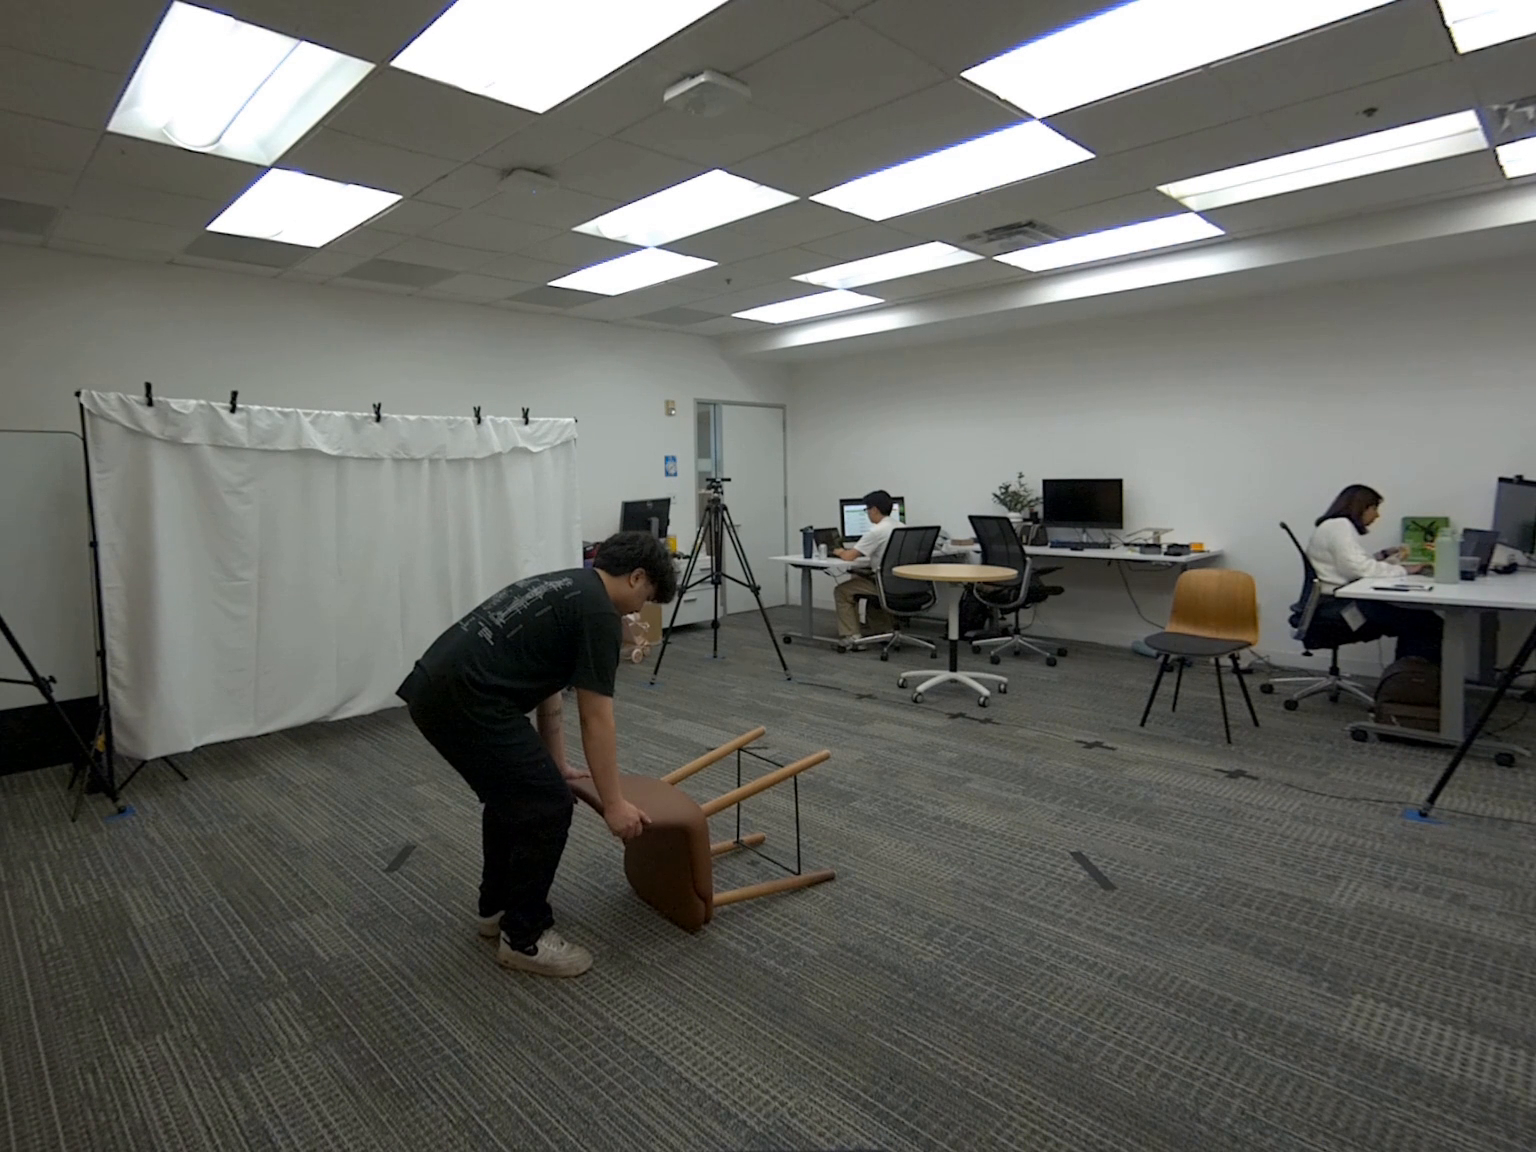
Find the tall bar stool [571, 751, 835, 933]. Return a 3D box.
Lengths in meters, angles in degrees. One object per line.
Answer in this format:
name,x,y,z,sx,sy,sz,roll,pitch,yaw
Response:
tall bar stool,-0.229,0.846,2.852,0.867,0.465,0.471,-5,7,-39
